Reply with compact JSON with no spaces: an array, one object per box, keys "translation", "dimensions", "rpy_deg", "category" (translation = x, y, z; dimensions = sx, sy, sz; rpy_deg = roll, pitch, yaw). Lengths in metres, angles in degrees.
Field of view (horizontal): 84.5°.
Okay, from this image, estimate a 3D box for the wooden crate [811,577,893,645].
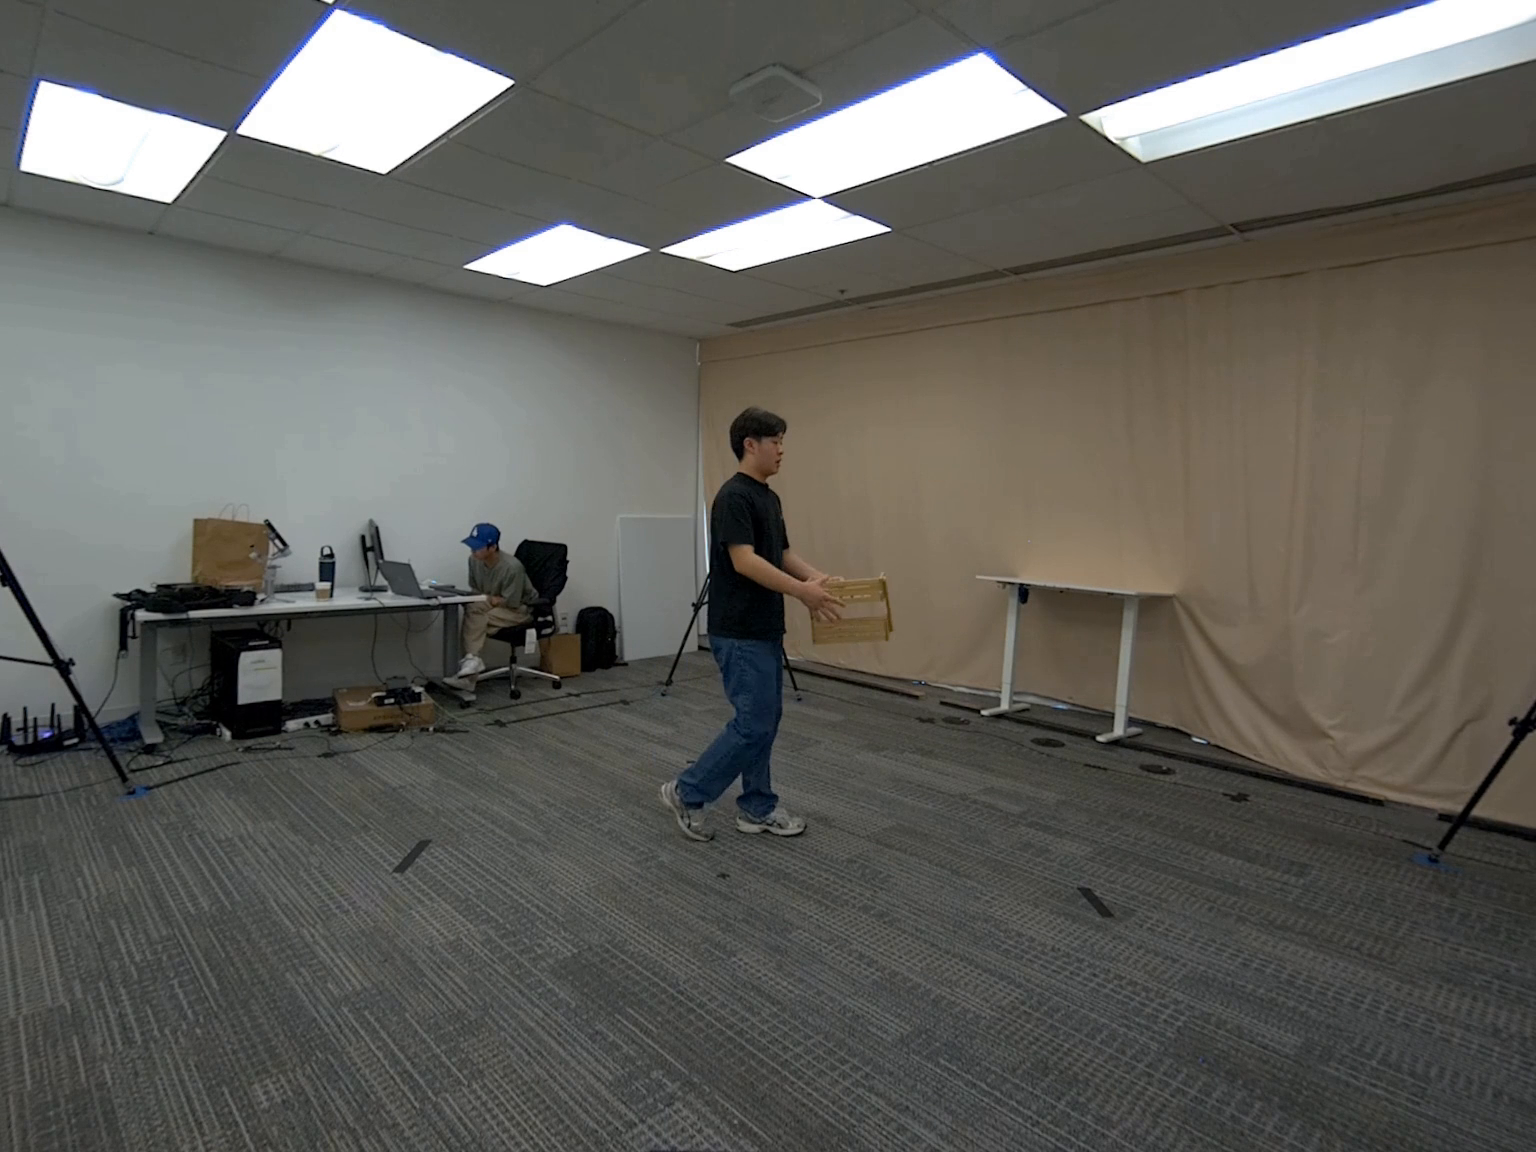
[{"translation":[0.324,0.127,3.439],"dimensions":[0.327,0.273,0.300],"rpy_deg":[-6,3,13],"category":"wooden crate"}]
